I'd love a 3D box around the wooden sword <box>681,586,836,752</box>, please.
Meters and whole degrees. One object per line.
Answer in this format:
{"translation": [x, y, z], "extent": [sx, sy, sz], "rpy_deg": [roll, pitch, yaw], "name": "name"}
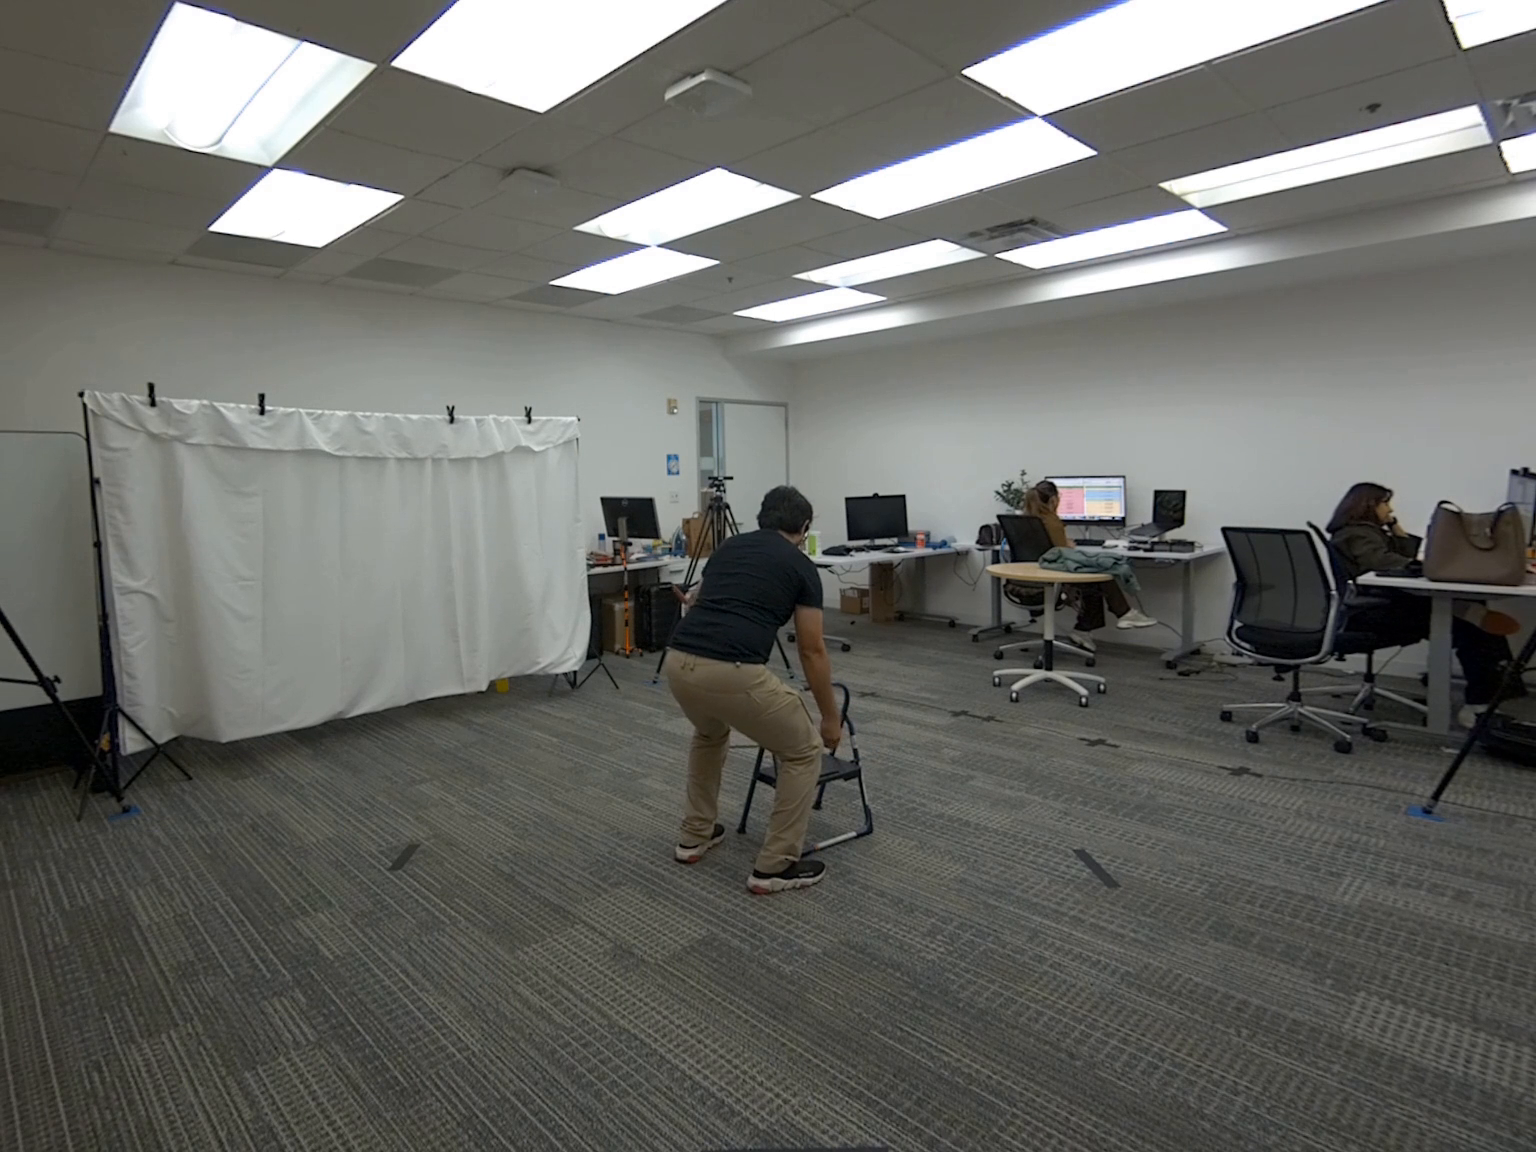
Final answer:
{"translation": [-0.107, 0.340, 3.520], "extent": [0.023, 0.050, 1.064], "rpy_deg": [-14, 43, -37], "name": "wooden sword"}
